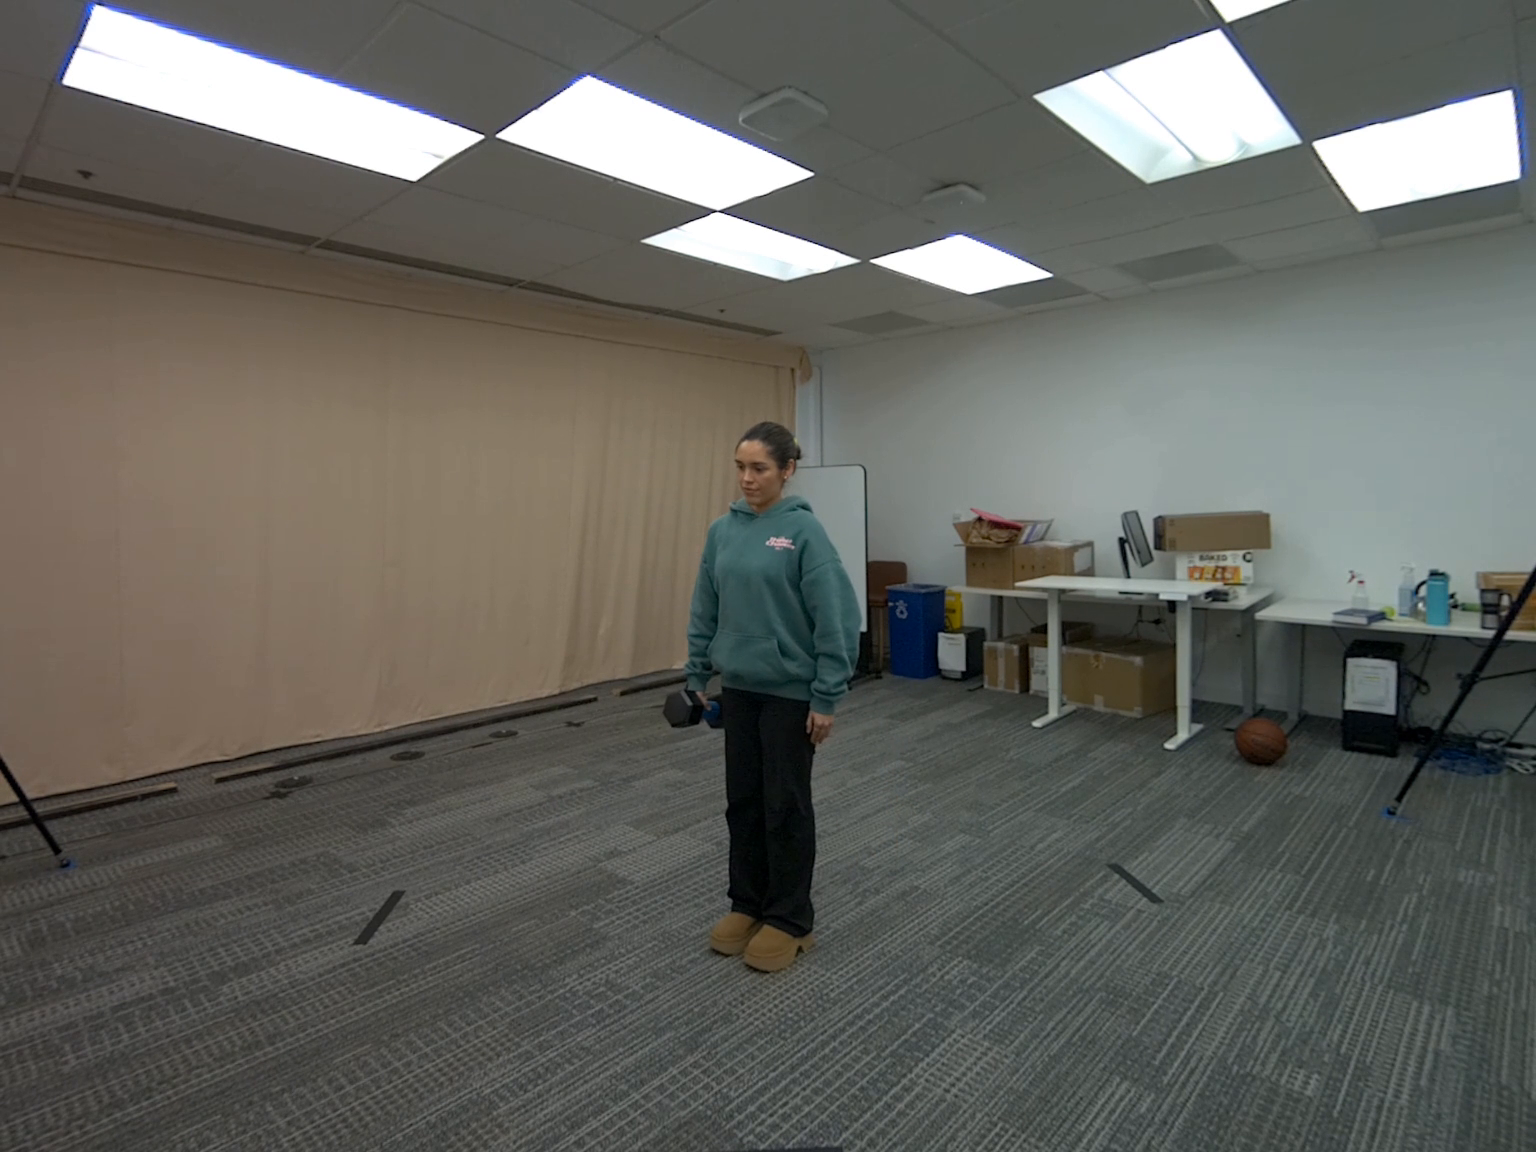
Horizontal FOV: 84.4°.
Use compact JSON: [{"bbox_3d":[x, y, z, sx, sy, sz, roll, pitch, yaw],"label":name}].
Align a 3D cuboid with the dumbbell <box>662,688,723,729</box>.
[{"bbox_3d":[-0.202,0.431,2.706,0.127,0.109,0.283,50,18,30],"label":"dumbbell"}]
